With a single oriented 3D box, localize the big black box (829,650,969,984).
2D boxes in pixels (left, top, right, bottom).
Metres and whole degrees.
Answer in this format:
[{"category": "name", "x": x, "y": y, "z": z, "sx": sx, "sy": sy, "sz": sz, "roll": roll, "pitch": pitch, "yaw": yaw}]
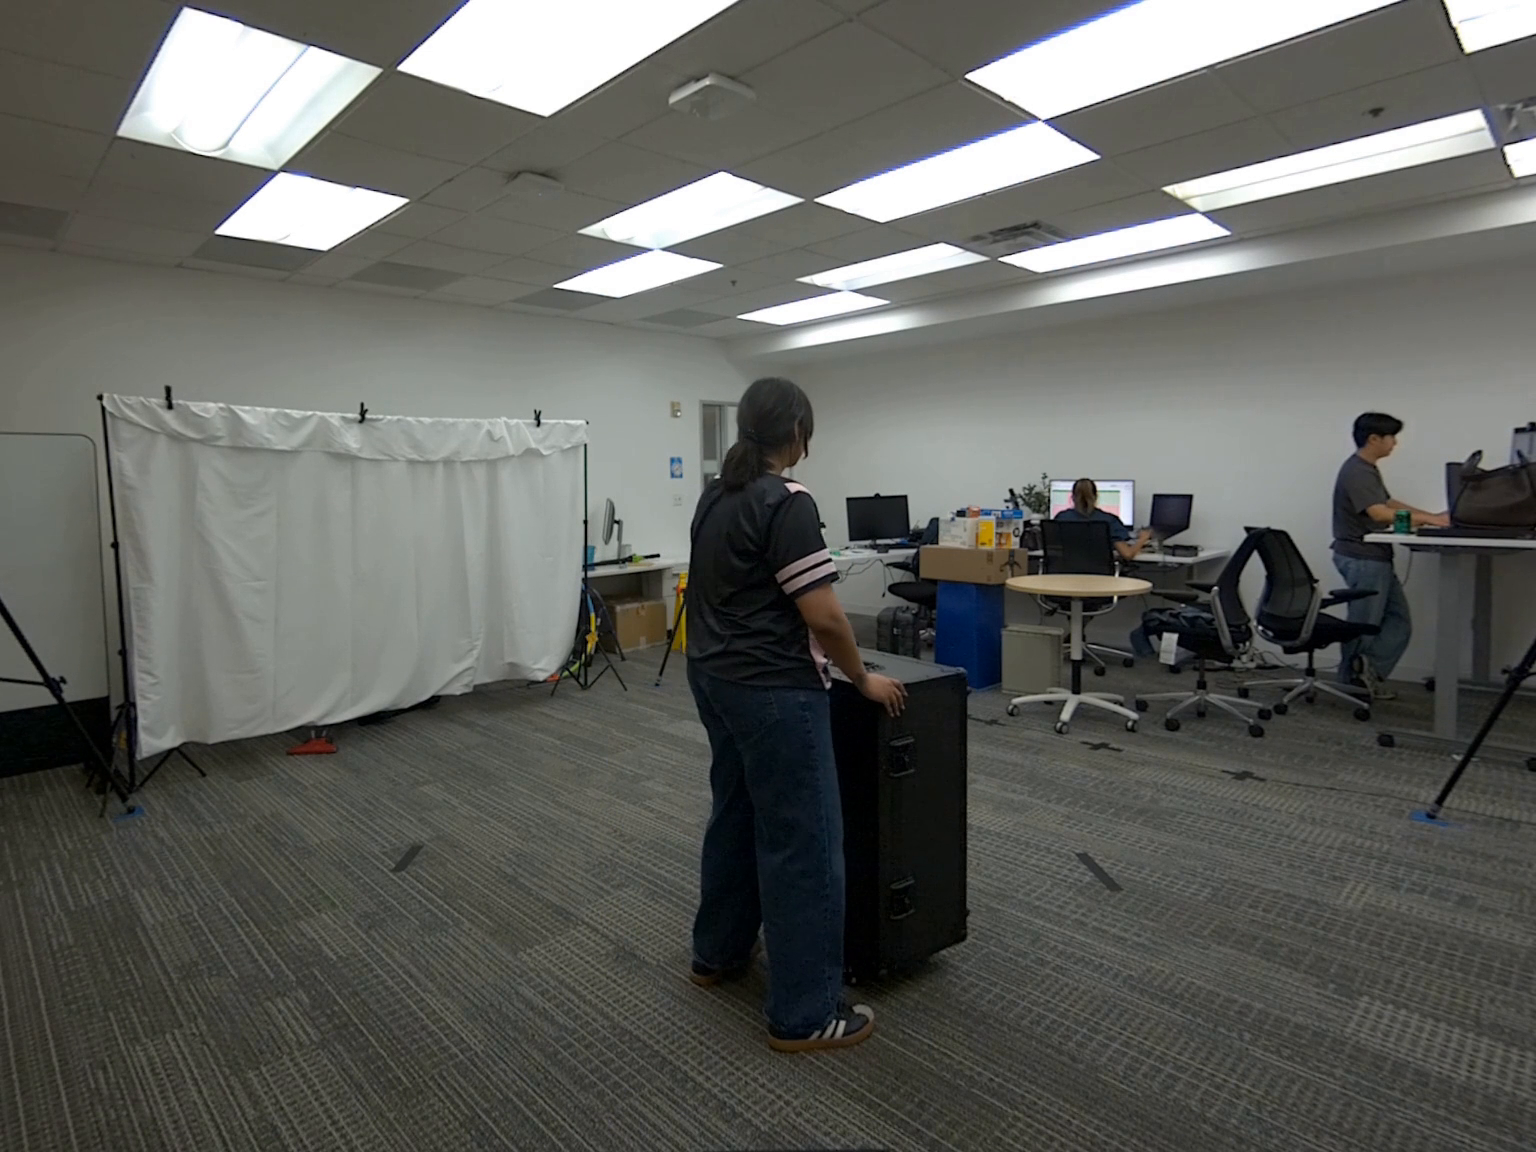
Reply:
[{"category": "big black box", "x": 0.283, "y": 0.685, "z": 2.529, "sx": 0.375, "sy": 0.866, "sz": 0.539, "roll": -3, "pitch": 5, "yaw": -35}]
